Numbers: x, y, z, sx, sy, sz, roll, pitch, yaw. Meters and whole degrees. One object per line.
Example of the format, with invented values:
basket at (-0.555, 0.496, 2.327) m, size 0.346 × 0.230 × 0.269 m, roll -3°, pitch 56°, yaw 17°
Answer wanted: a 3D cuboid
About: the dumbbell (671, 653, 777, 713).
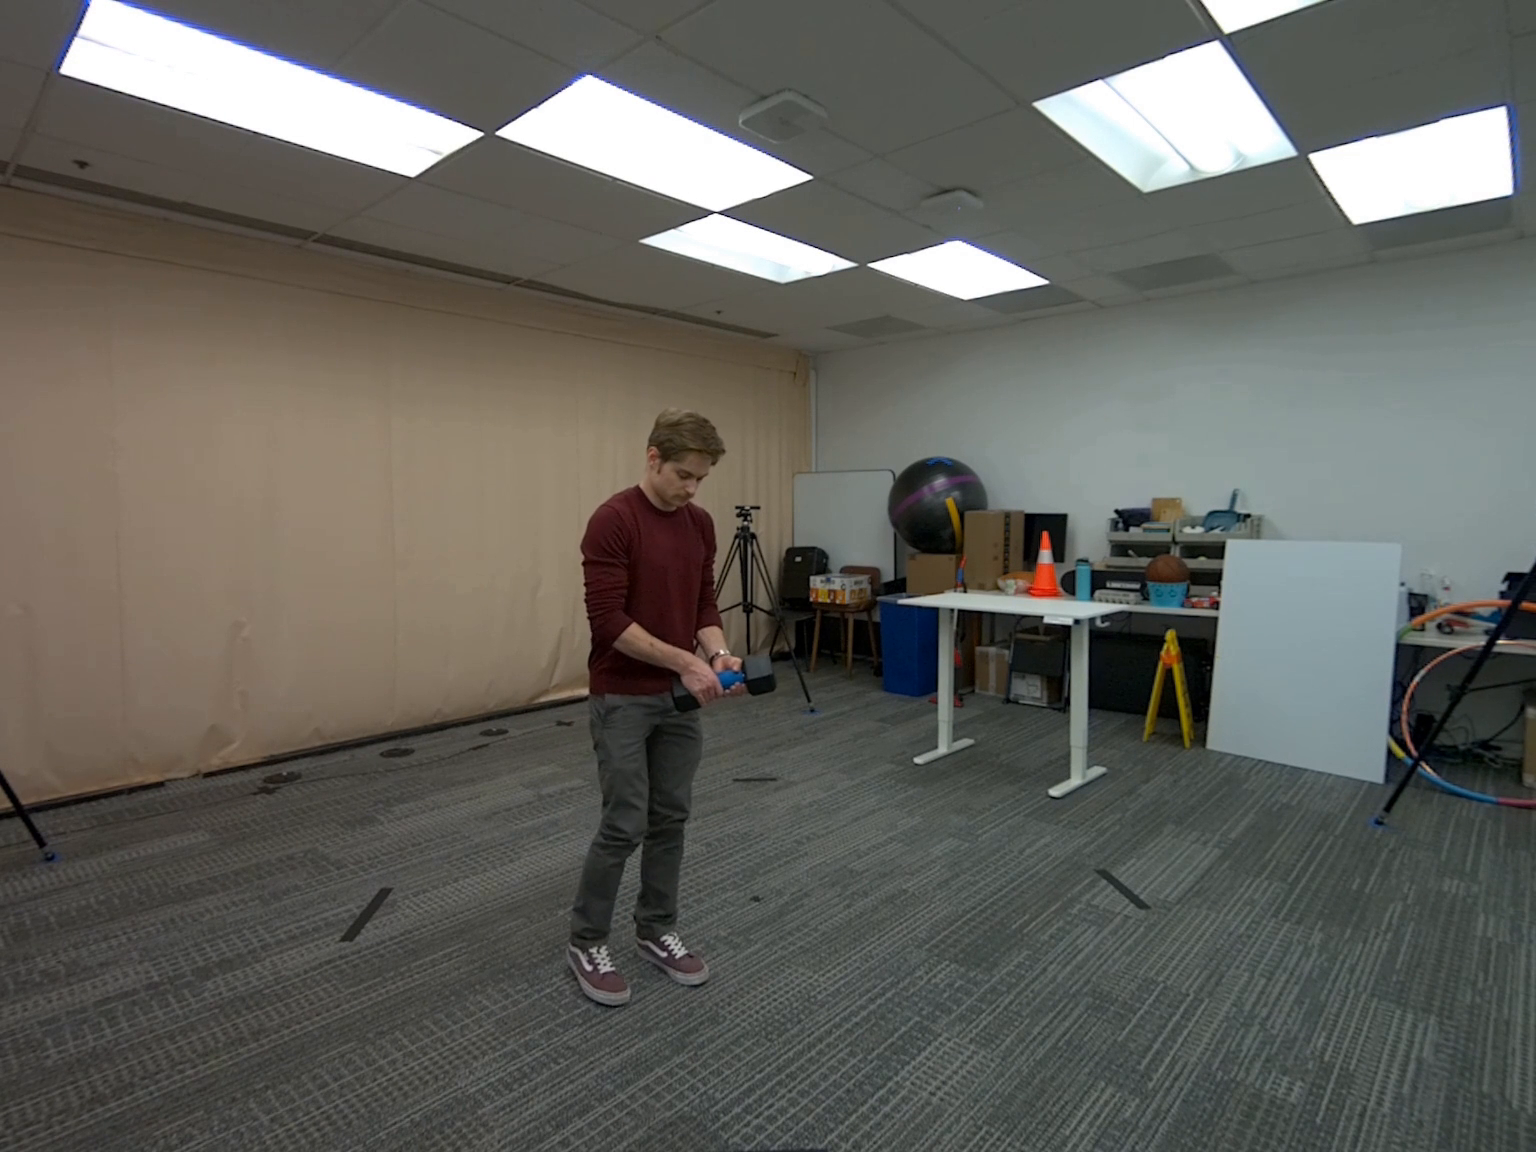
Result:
dumbbell at (-0.129, 0.299, 2.372) m, size 0.296 × 0.120 × 0.111 m, roll -12°, pitch 35°, yaw 8°
